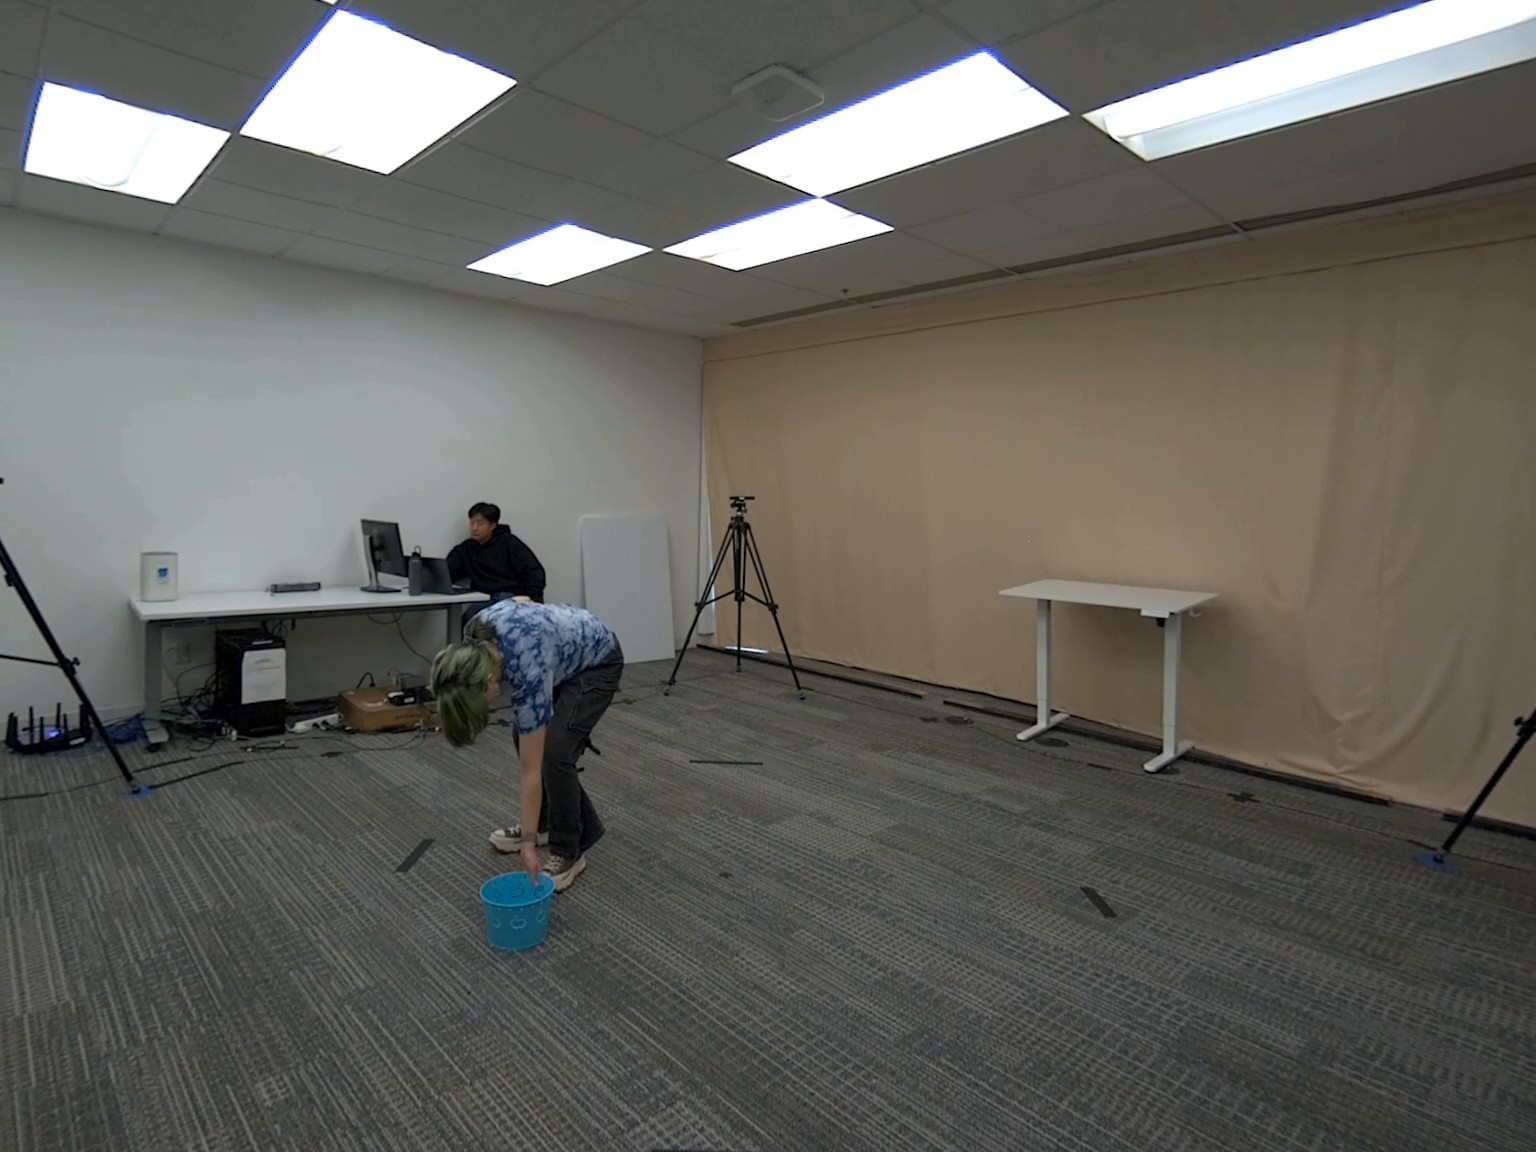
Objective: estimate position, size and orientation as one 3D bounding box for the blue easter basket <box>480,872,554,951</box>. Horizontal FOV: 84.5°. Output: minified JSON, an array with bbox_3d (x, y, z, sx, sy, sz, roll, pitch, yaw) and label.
[{"bbox_3d":[-0.795,1.055,2.646,0.243,0.155,0.244,1,5,-1],"label":"blue easter basket"}]
